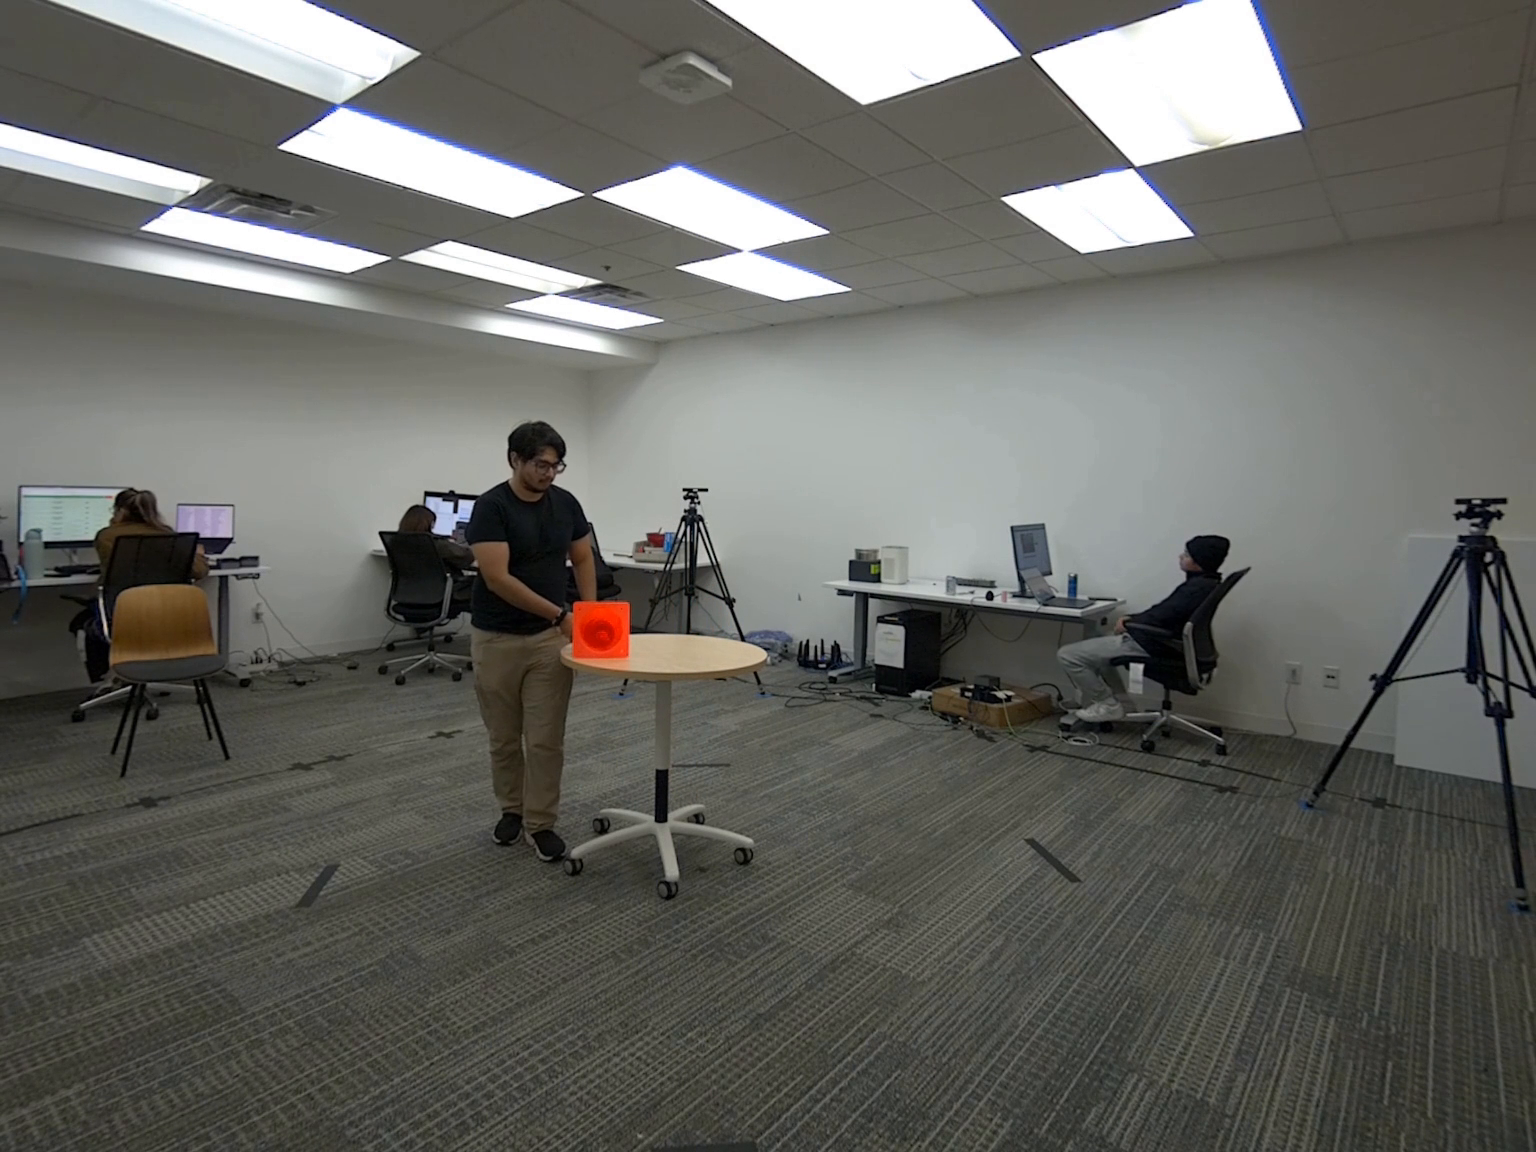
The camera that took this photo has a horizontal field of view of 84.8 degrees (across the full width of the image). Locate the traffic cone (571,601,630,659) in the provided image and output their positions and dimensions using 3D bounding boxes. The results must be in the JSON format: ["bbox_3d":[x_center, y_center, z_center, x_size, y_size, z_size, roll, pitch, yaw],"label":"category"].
[{"bbox_3d":[-0.636,0.206,3.199,0.202,0.206,0.385,9,-5,-7],"label":"traffic cone"}]
